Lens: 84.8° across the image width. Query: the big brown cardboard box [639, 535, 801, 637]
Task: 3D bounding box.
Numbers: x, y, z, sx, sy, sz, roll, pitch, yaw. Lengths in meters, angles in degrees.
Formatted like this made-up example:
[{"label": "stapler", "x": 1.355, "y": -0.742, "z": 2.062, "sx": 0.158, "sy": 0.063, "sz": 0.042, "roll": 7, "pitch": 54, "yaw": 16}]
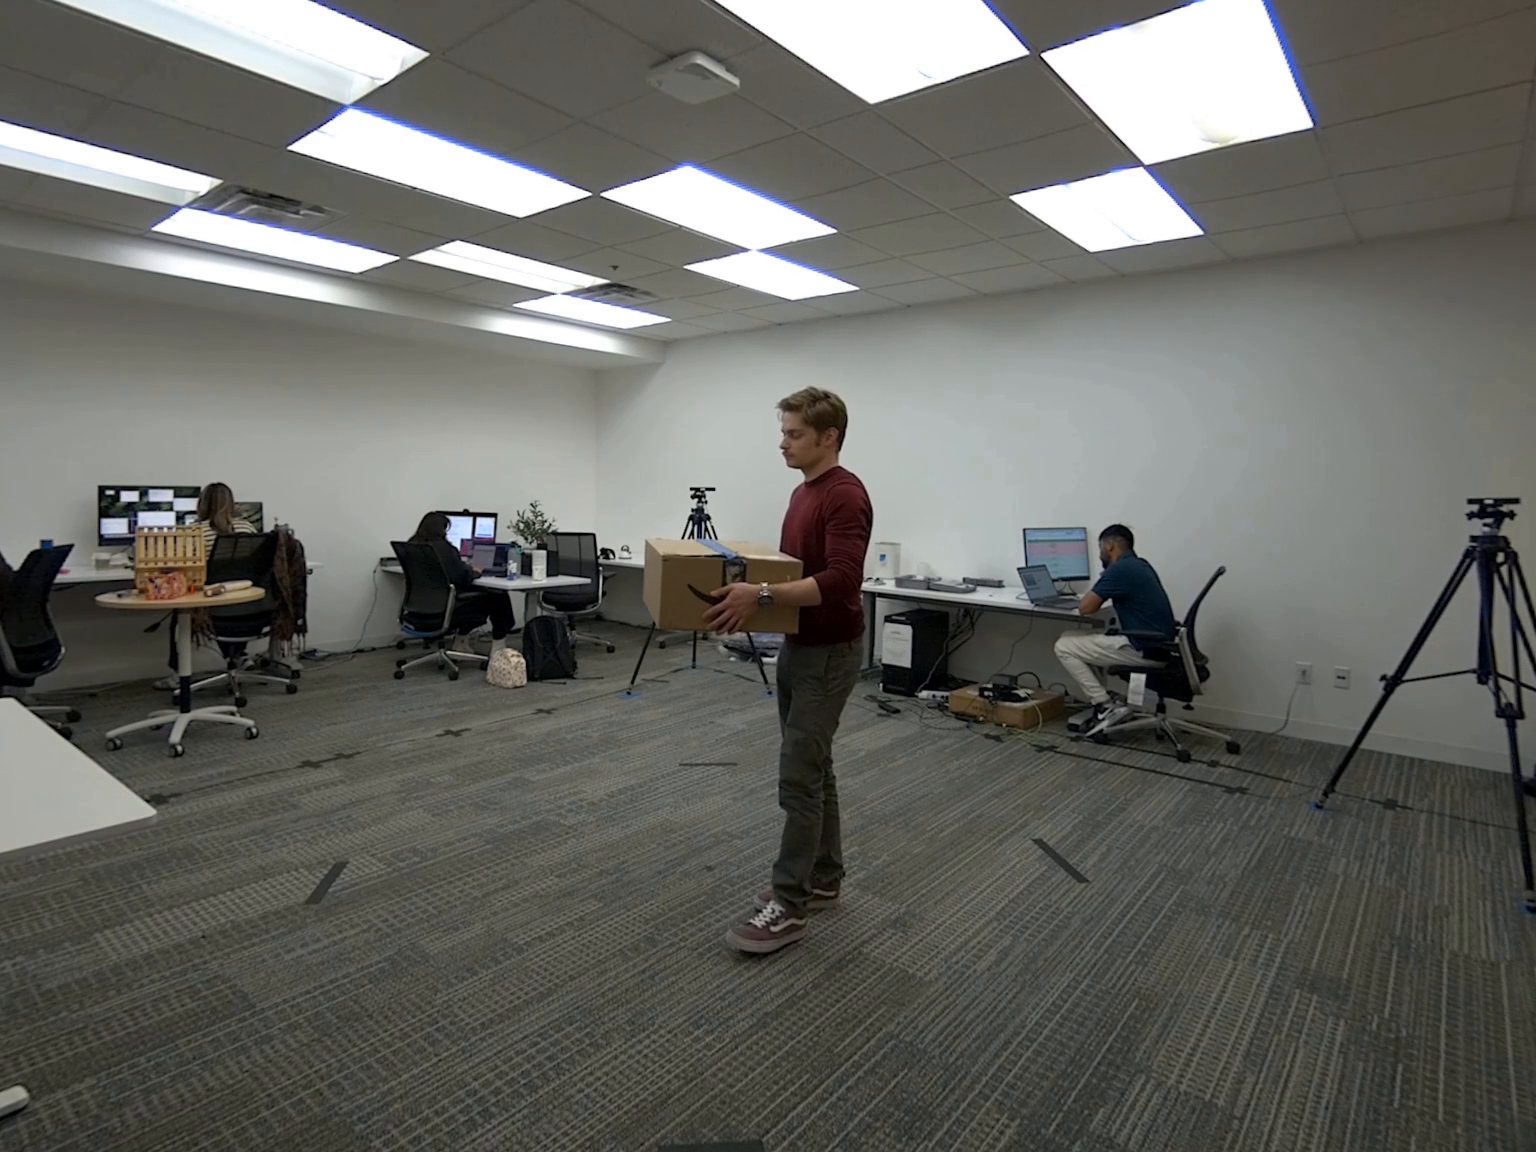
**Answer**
[{"label": "big brown cardboard box", "x": -0.182, "y": 0.015, "z": 2.715, "sx": 0.413, "sy": 0.232, "sz": 0.598, "roll": 3, "pitch": 5, "yaw": -11}]
